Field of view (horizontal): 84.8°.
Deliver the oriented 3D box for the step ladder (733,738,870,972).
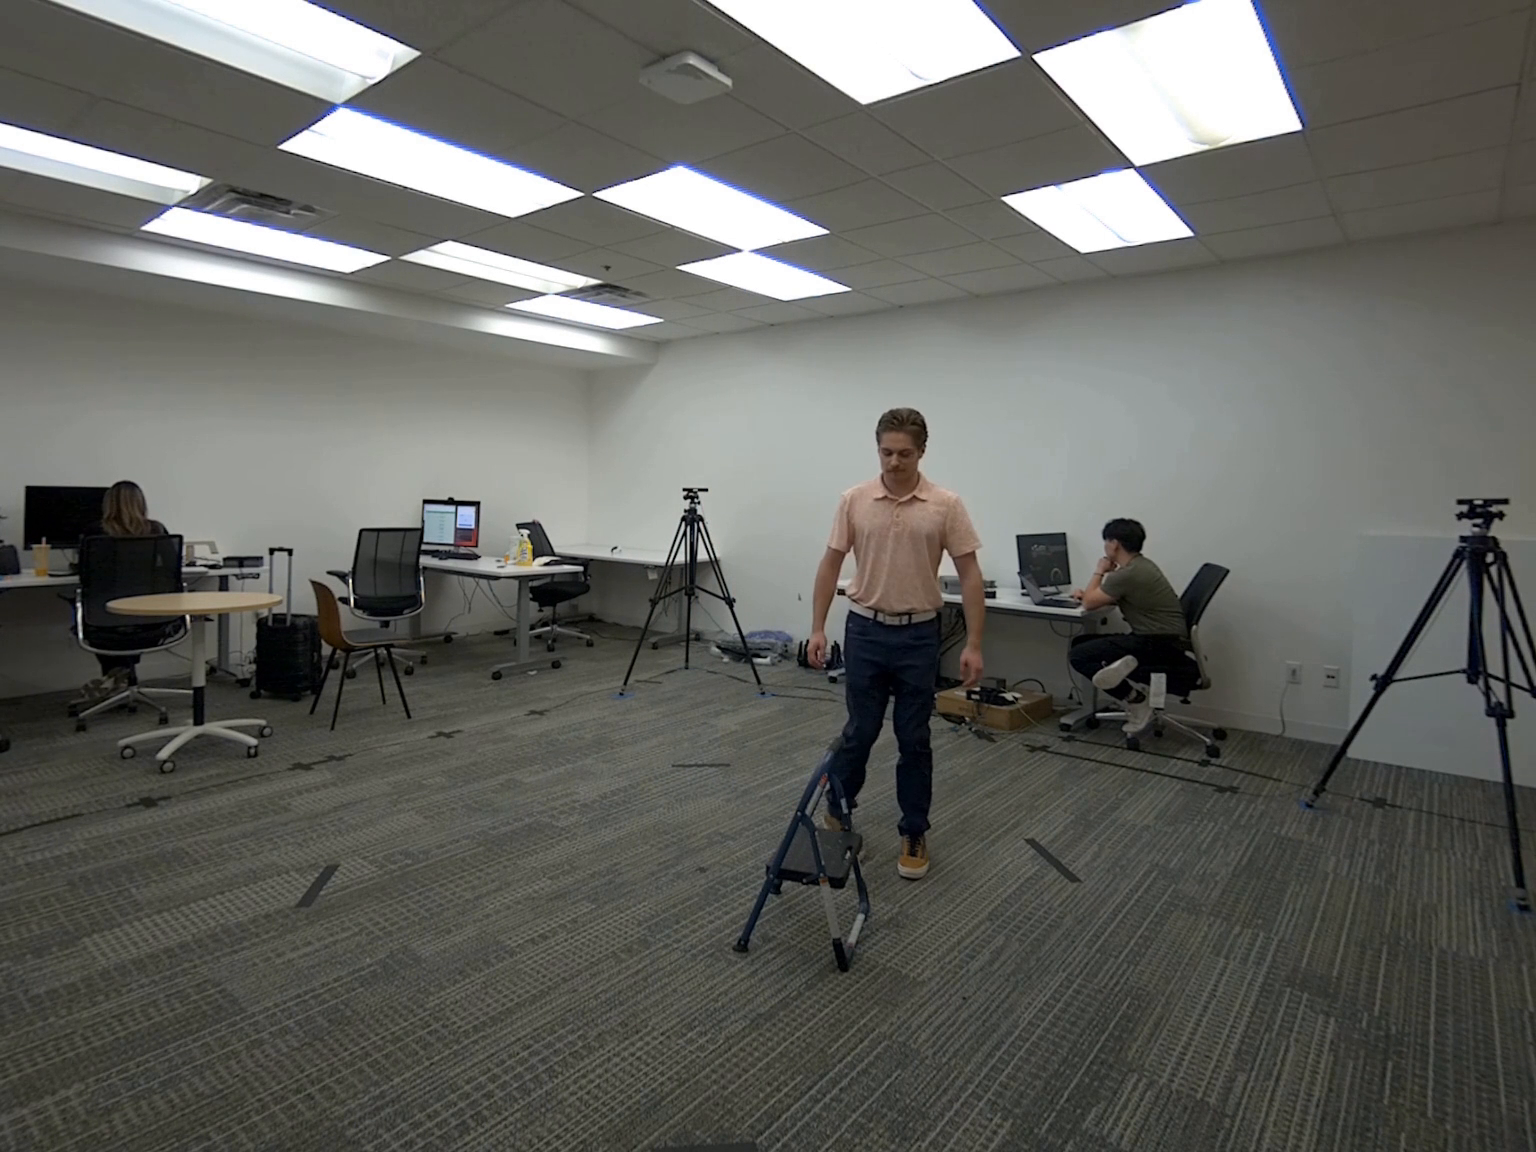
[{"bbox_3d":[0.120,0.816,2.687,0.356,0.604,0.424,2,4,16],"label":"step ladder"}]
